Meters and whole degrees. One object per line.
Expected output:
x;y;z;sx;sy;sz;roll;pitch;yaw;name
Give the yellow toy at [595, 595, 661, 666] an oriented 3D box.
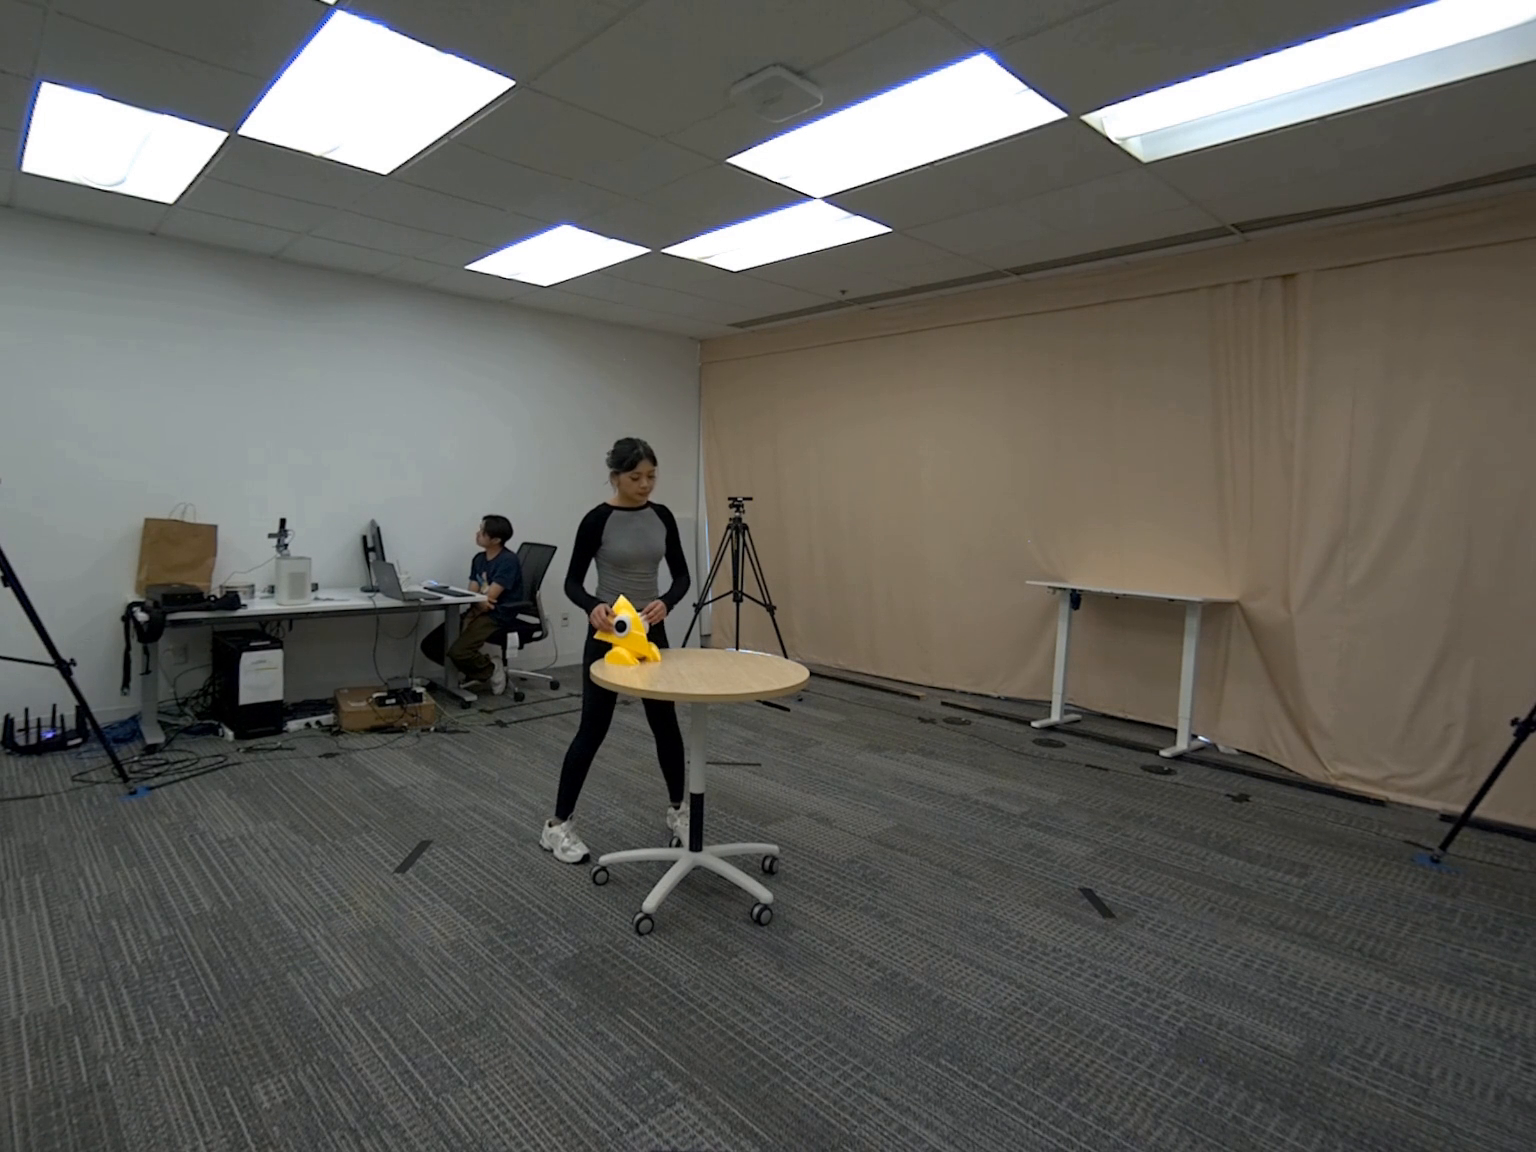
-0.507;0.193;3.071;0.198;0.230;0.200;7;5;38;yellow toy
